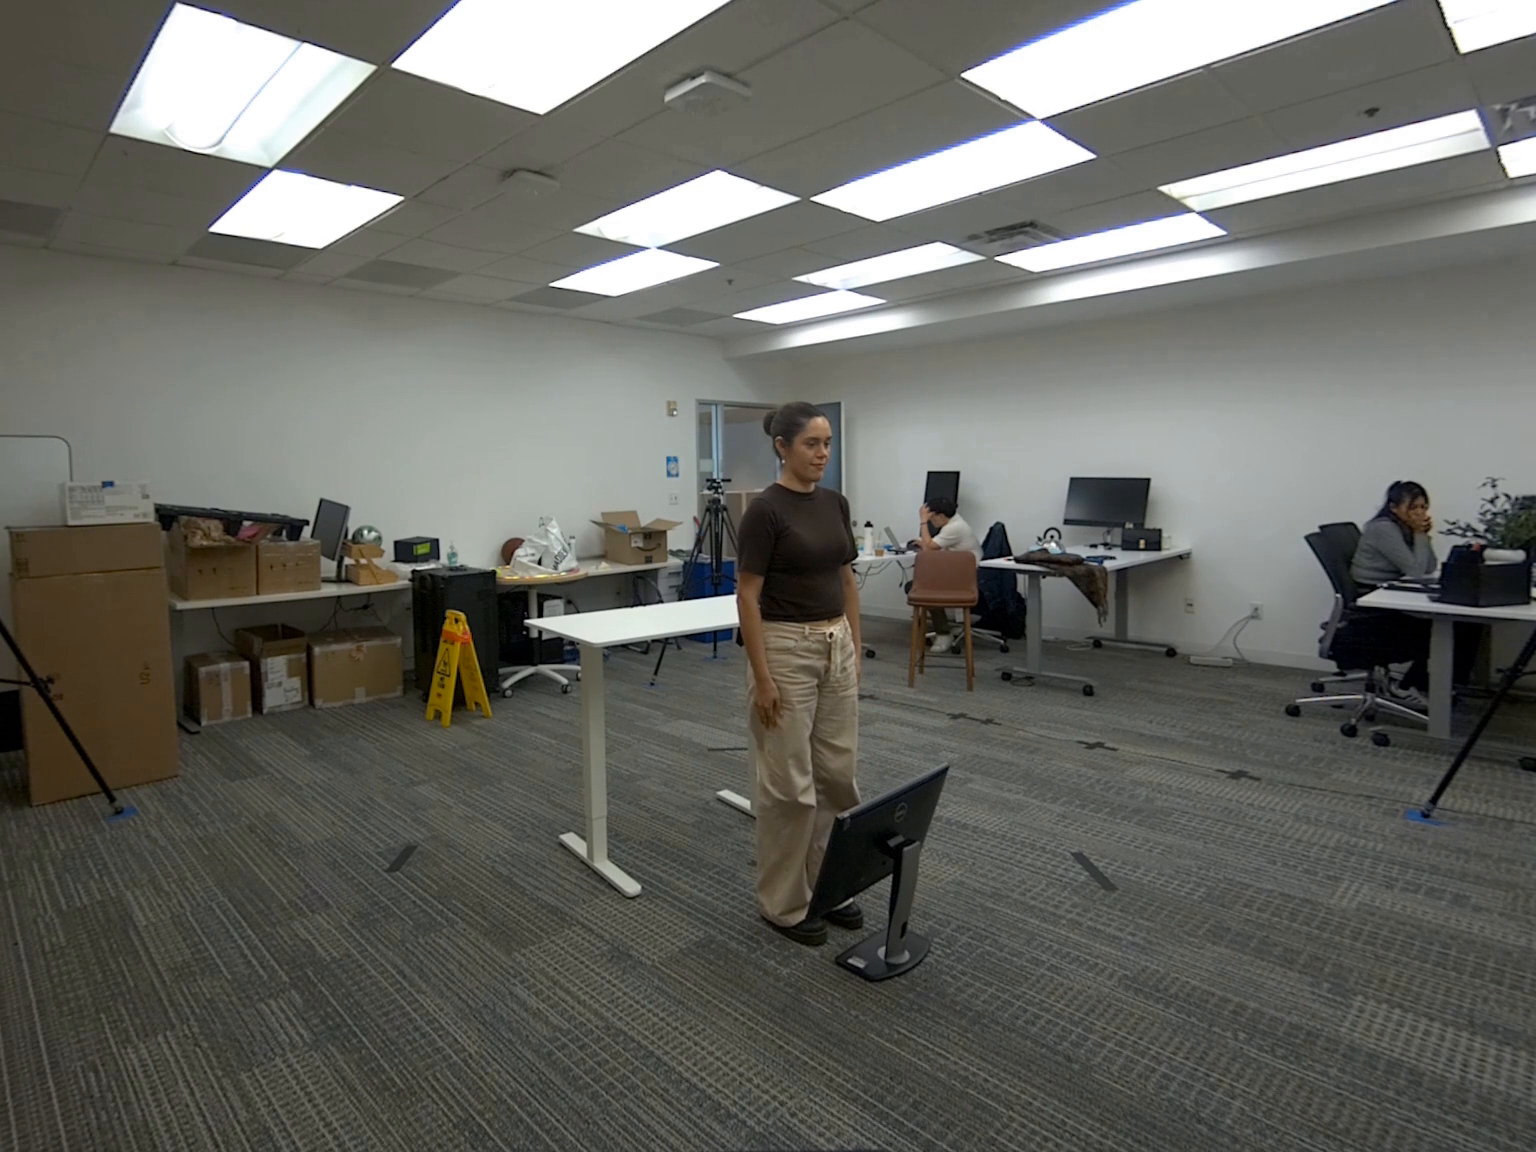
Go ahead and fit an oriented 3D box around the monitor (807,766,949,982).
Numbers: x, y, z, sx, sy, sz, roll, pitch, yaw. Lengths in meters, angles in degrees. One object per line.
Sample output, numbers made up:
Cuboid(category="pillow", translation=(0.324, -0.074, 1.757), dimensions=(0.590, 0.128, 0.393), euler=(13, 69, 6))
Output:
Cuboid(category="monitor", translation=(0.357, 0.860, 2.458), dimensions=(0.193, 0.519, 0.525), euler=(9, 12, 43))
